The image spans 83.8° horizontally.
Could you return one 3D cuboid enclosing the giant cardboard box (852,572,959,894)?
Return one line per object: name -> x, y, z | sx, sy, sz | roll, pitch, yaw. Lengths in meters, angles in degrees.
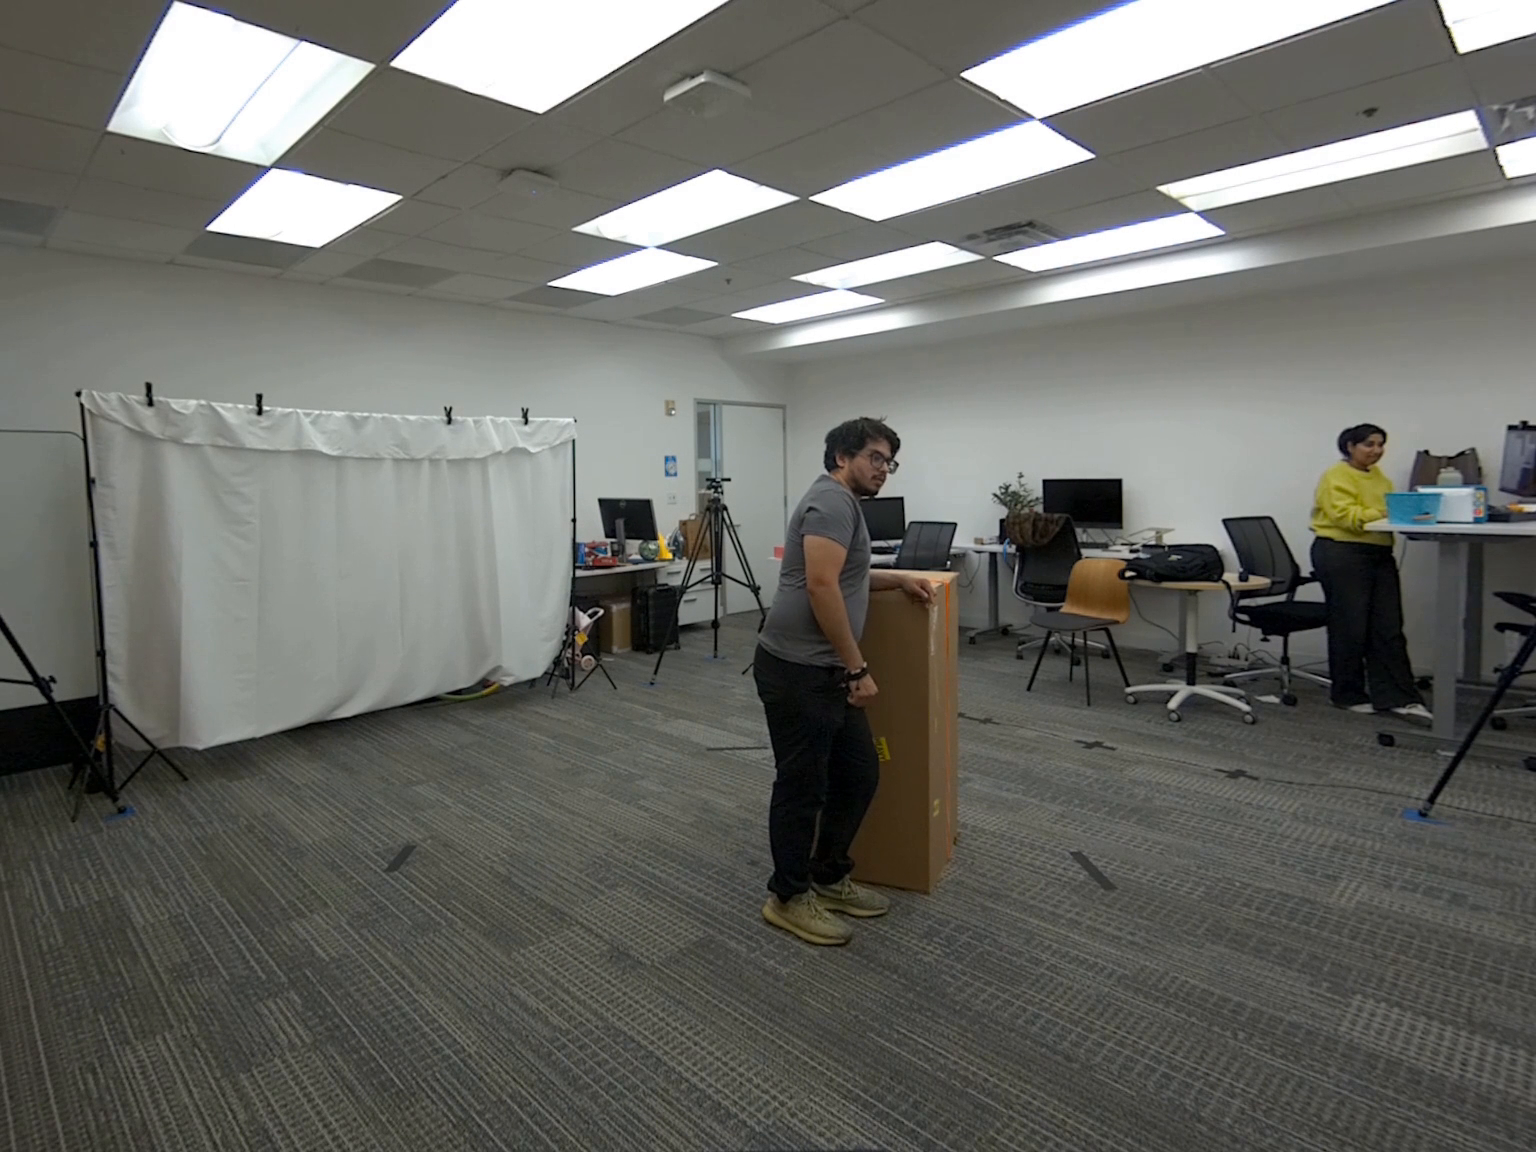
giant cardboard box -> 0.454, 0.518, 3.165 | 0.436, 1.022, 0.567 | 1, 4, 24
